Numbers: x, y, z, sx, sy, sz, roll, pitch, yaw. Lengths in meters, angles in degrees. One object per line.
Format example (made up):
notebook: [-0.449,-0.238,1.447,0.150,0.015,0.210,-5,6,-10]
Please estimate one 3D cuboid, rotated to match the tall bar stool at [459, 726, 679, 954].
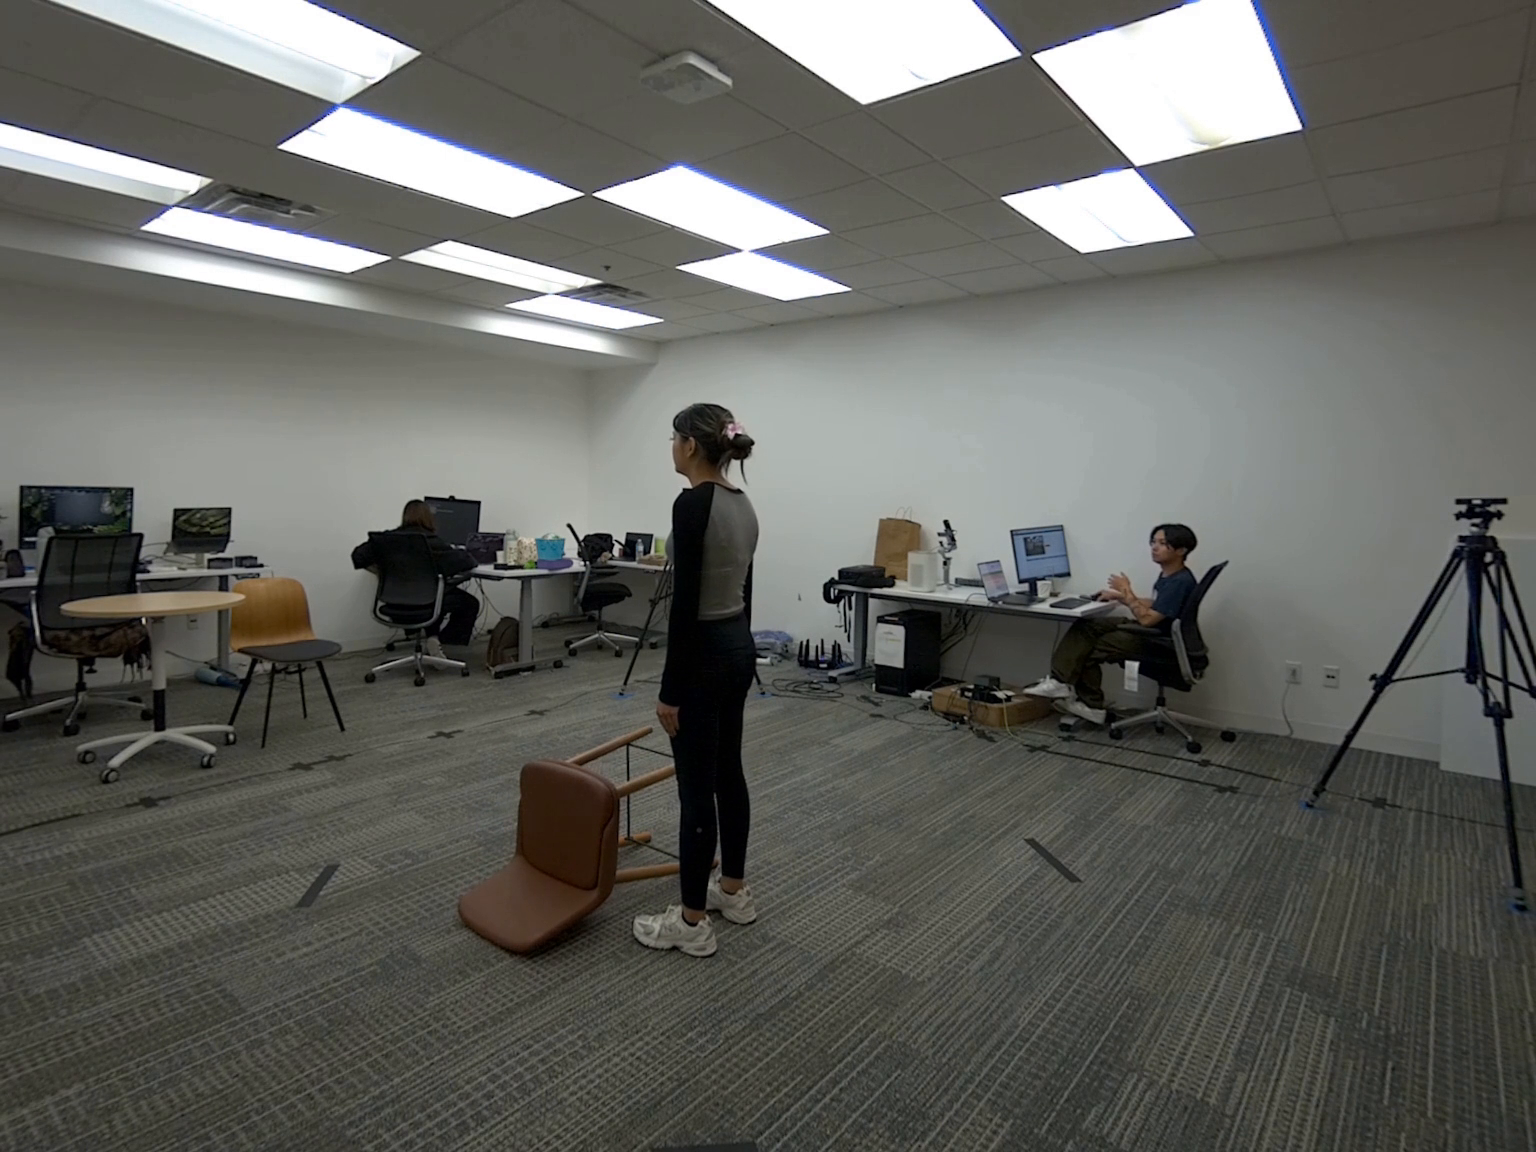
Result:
tall bar stool: [-0.594,0.853,2.915,0.472,0.466,0.864,5,6,38]
